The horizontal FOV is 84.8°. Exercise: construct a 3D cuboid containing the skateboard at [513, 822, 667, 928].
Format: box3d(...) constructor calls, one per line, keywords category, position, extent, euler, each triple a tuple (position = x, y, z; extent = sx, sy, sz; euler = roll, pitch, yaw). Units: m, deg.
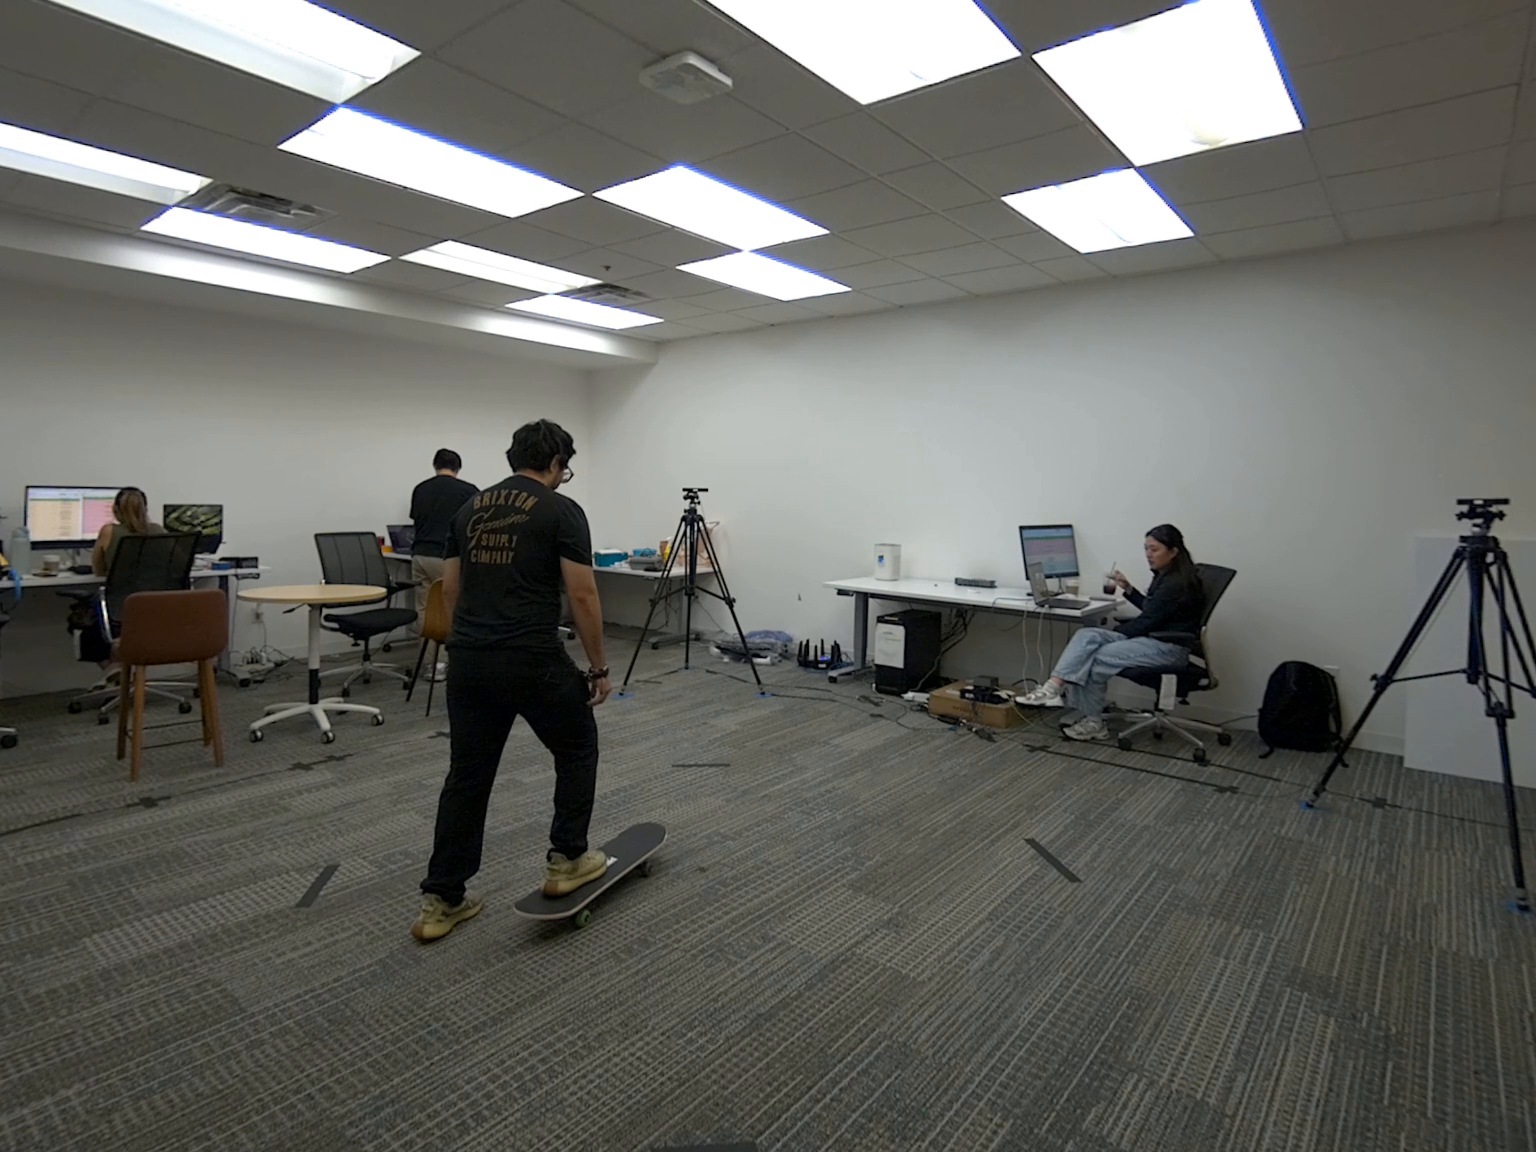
box3d(category="skateboard", position=(-0.594, 1.031, 2.903), extent=(0.198, 0.110, 0.769), euler=(1, 5, 22))
